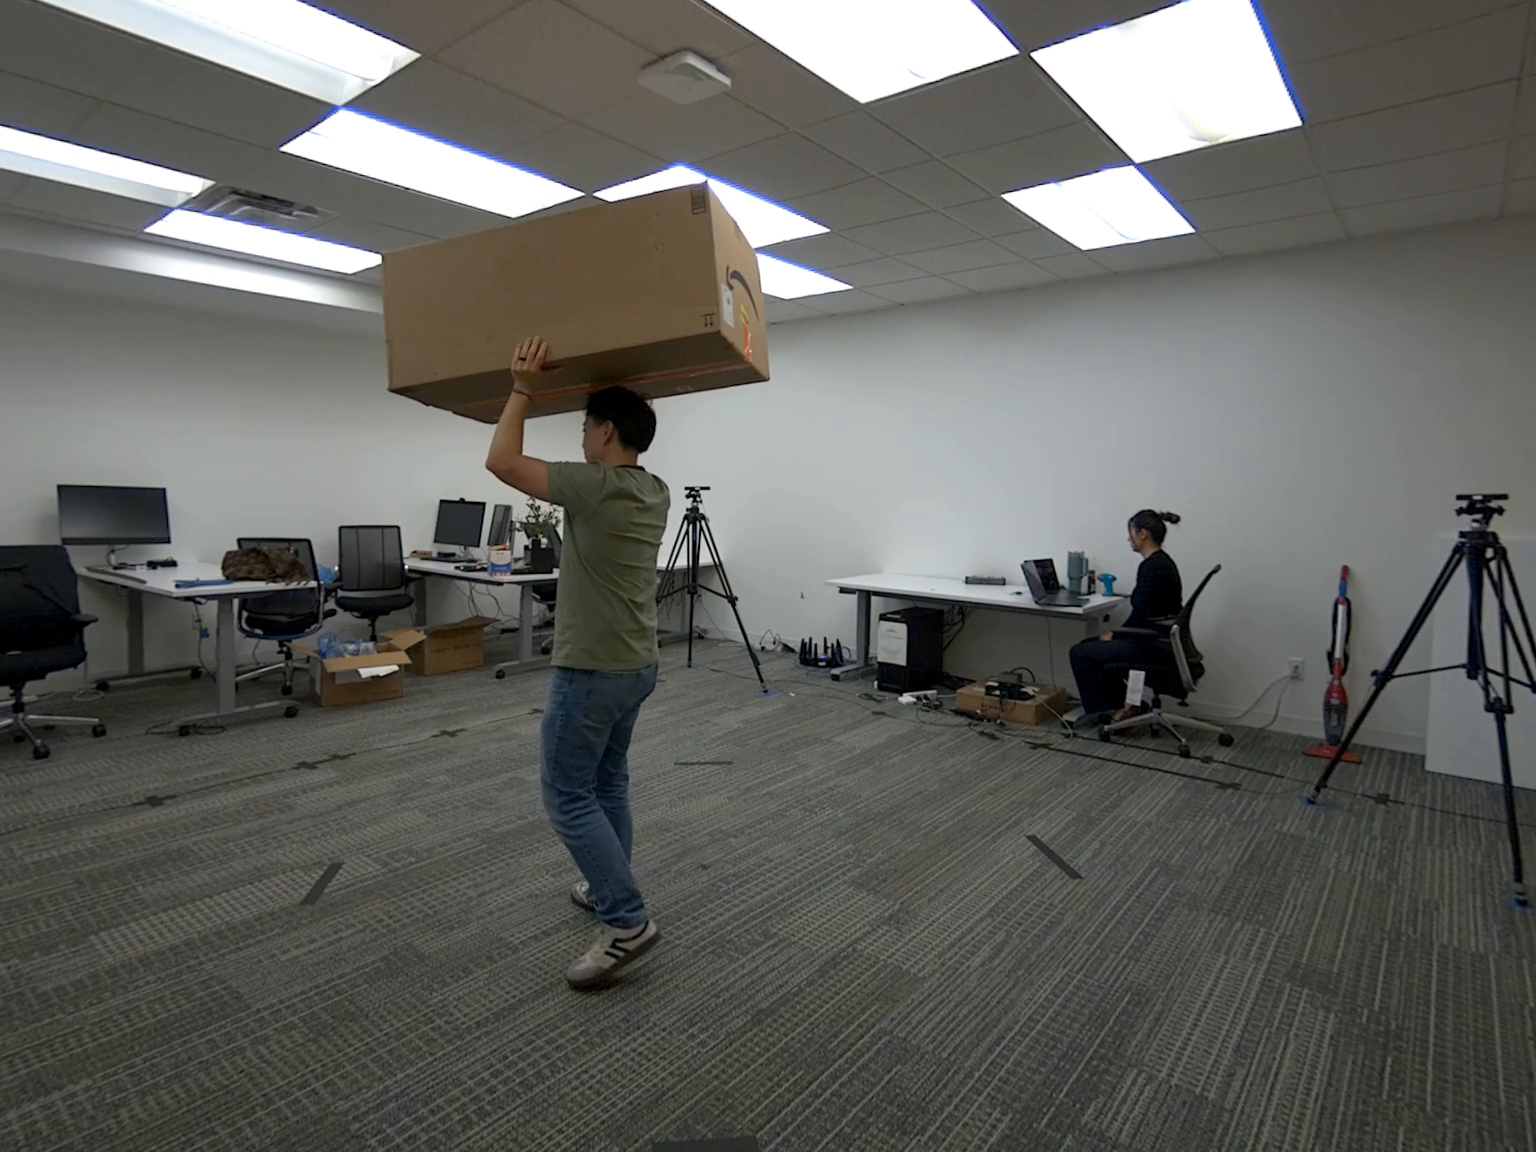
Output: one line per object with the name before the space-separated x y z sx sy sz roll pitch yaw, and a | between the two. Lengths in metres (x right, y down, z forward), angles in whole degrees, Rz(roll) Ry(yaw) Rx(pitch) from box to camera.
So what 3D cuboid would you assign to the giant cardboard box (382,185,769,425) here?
giant cardboard box | -0.580 -0.790 2.638 1.042 0.428 0.567 -5 -2 16
